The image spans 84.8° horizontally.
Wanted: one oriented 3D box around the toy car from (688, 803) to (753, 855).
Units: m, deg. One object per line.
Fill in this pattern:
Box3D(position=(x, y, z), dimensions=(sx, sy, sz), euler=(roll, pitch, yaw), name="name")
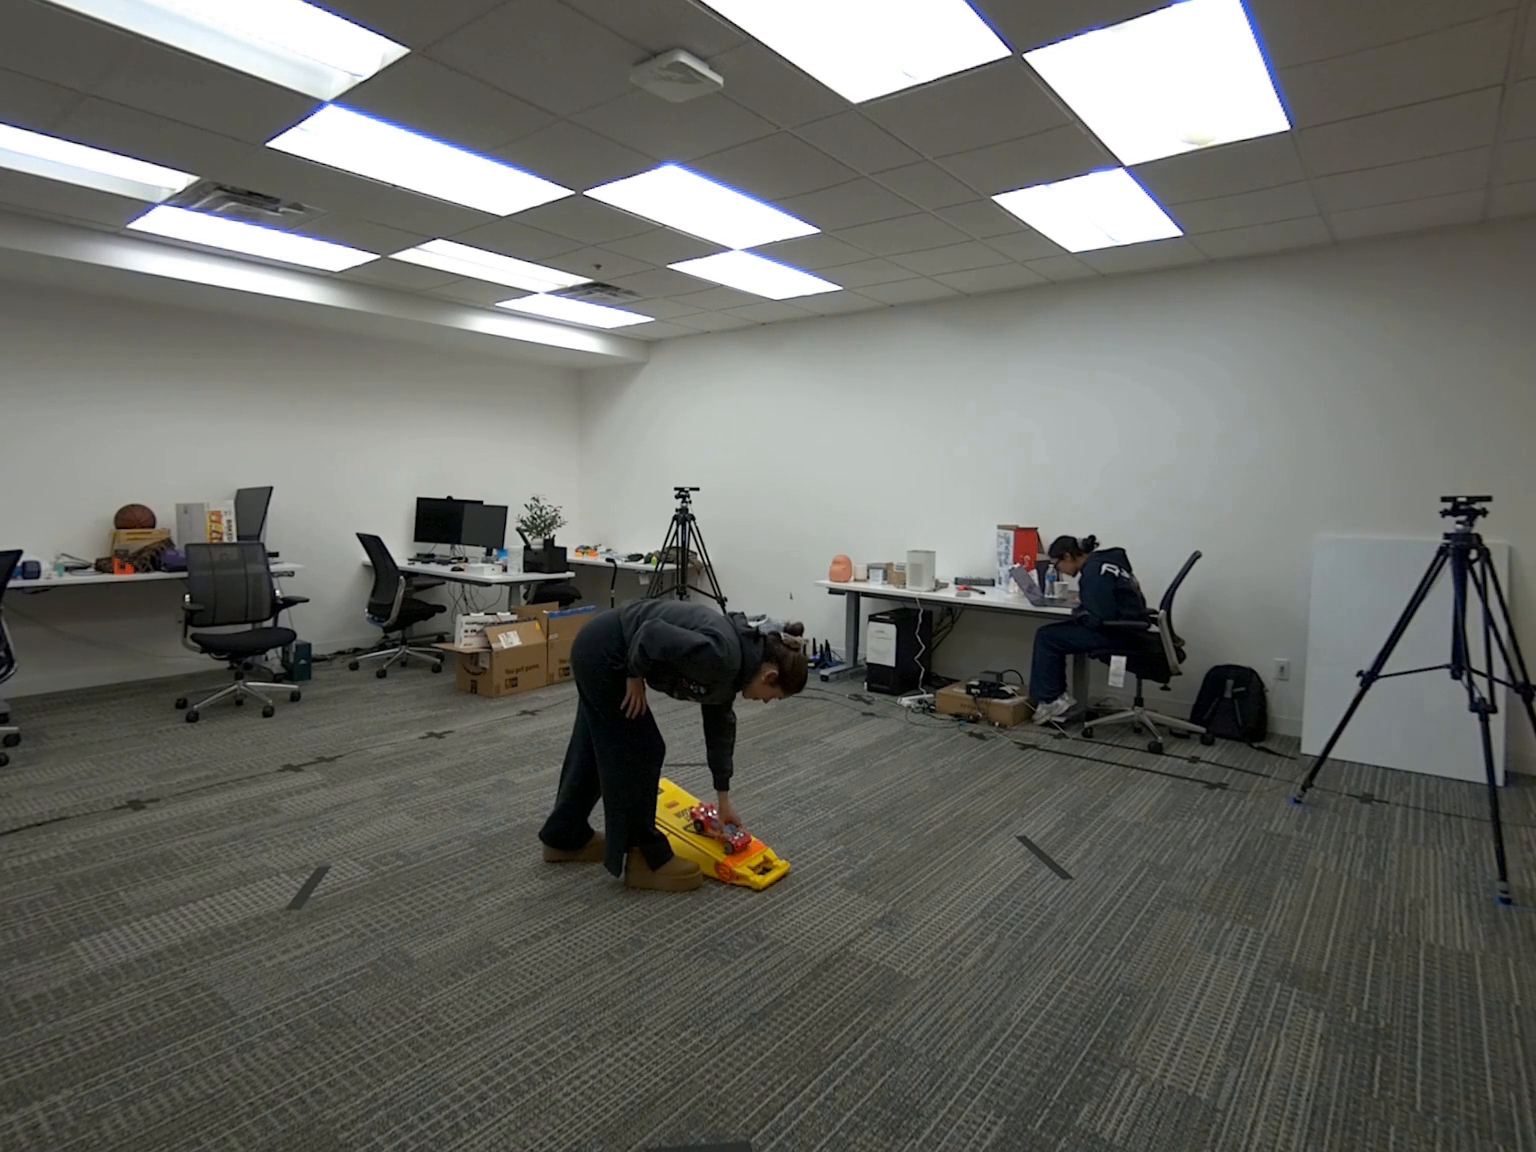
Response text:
Box3D(position=(-0.194, 0.930, 3.140), dimensions=(0.264, 0.082, 0.126), euler=(36, 24, 32), name="toy car")
